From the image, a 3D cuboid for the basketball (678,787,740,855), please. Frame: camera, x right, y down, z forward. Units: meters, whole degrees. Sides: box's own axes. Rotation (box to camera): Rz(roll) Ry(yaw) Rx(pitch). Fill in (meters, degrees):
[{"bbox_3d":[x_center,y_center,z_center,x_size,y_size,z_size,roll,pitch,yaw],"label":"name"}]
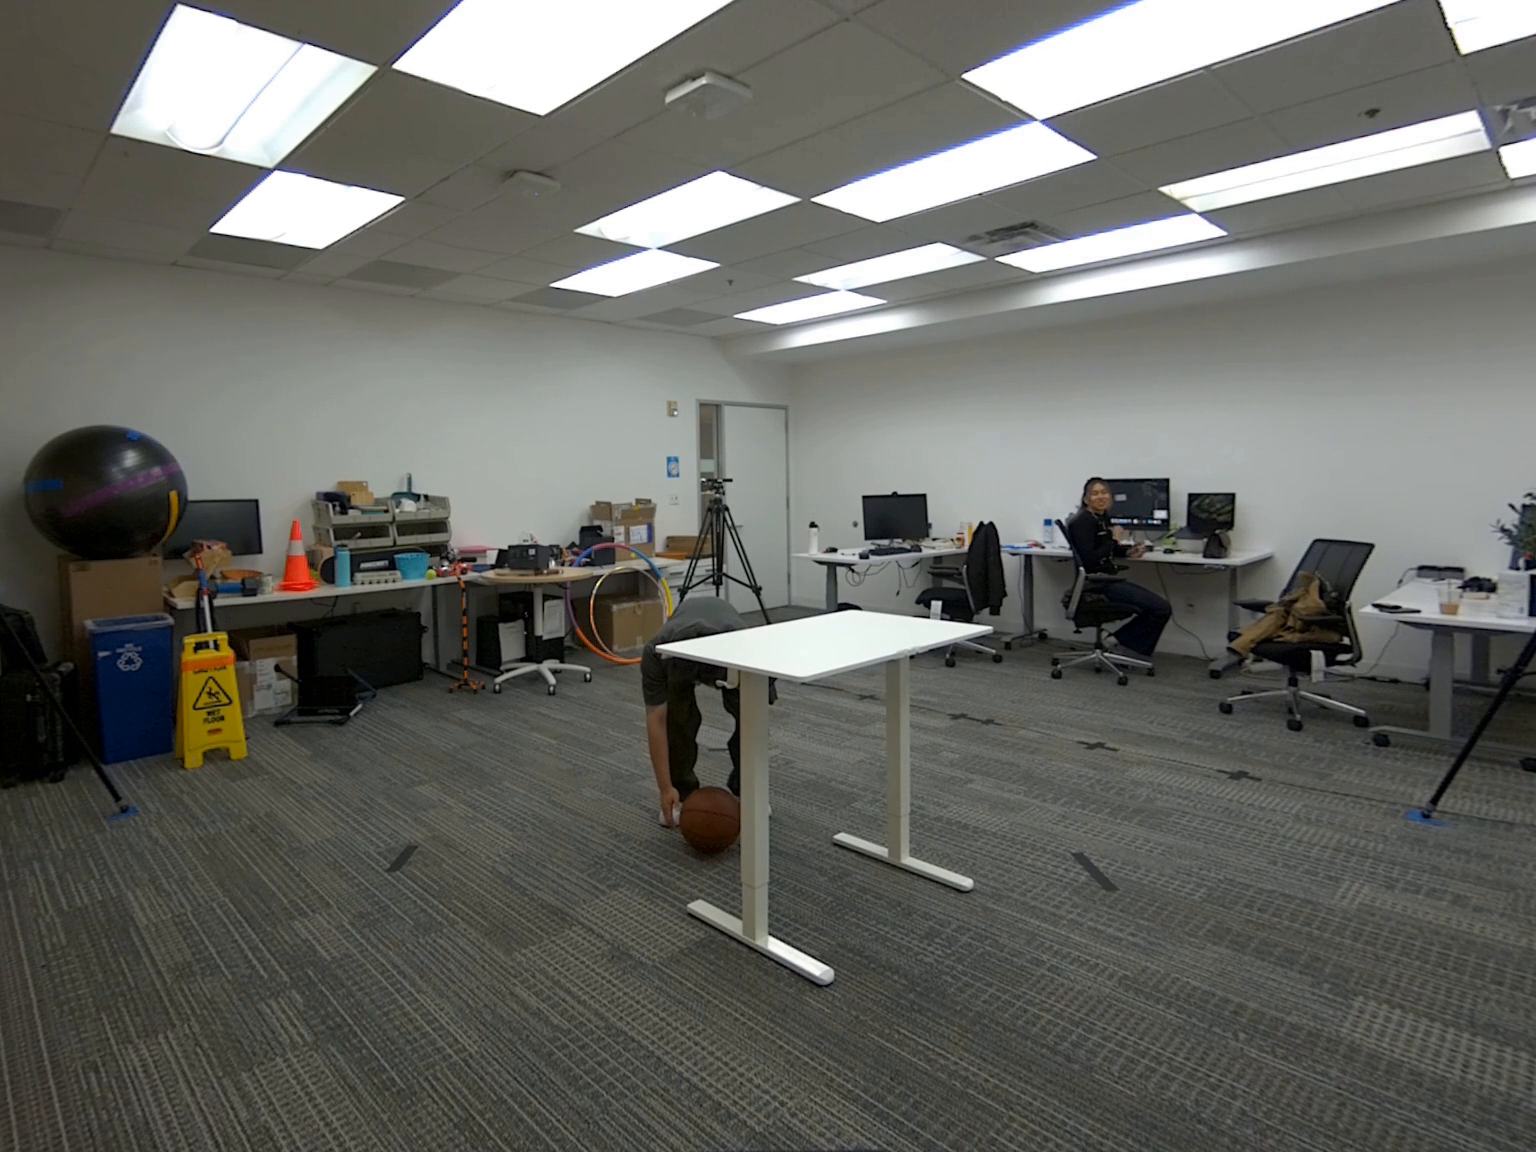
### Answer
[{"bbox_3d":[-0.215,0.916,3.218,0.236,0.235,0.237,-1,5,-2],"label":"basketball"}]
